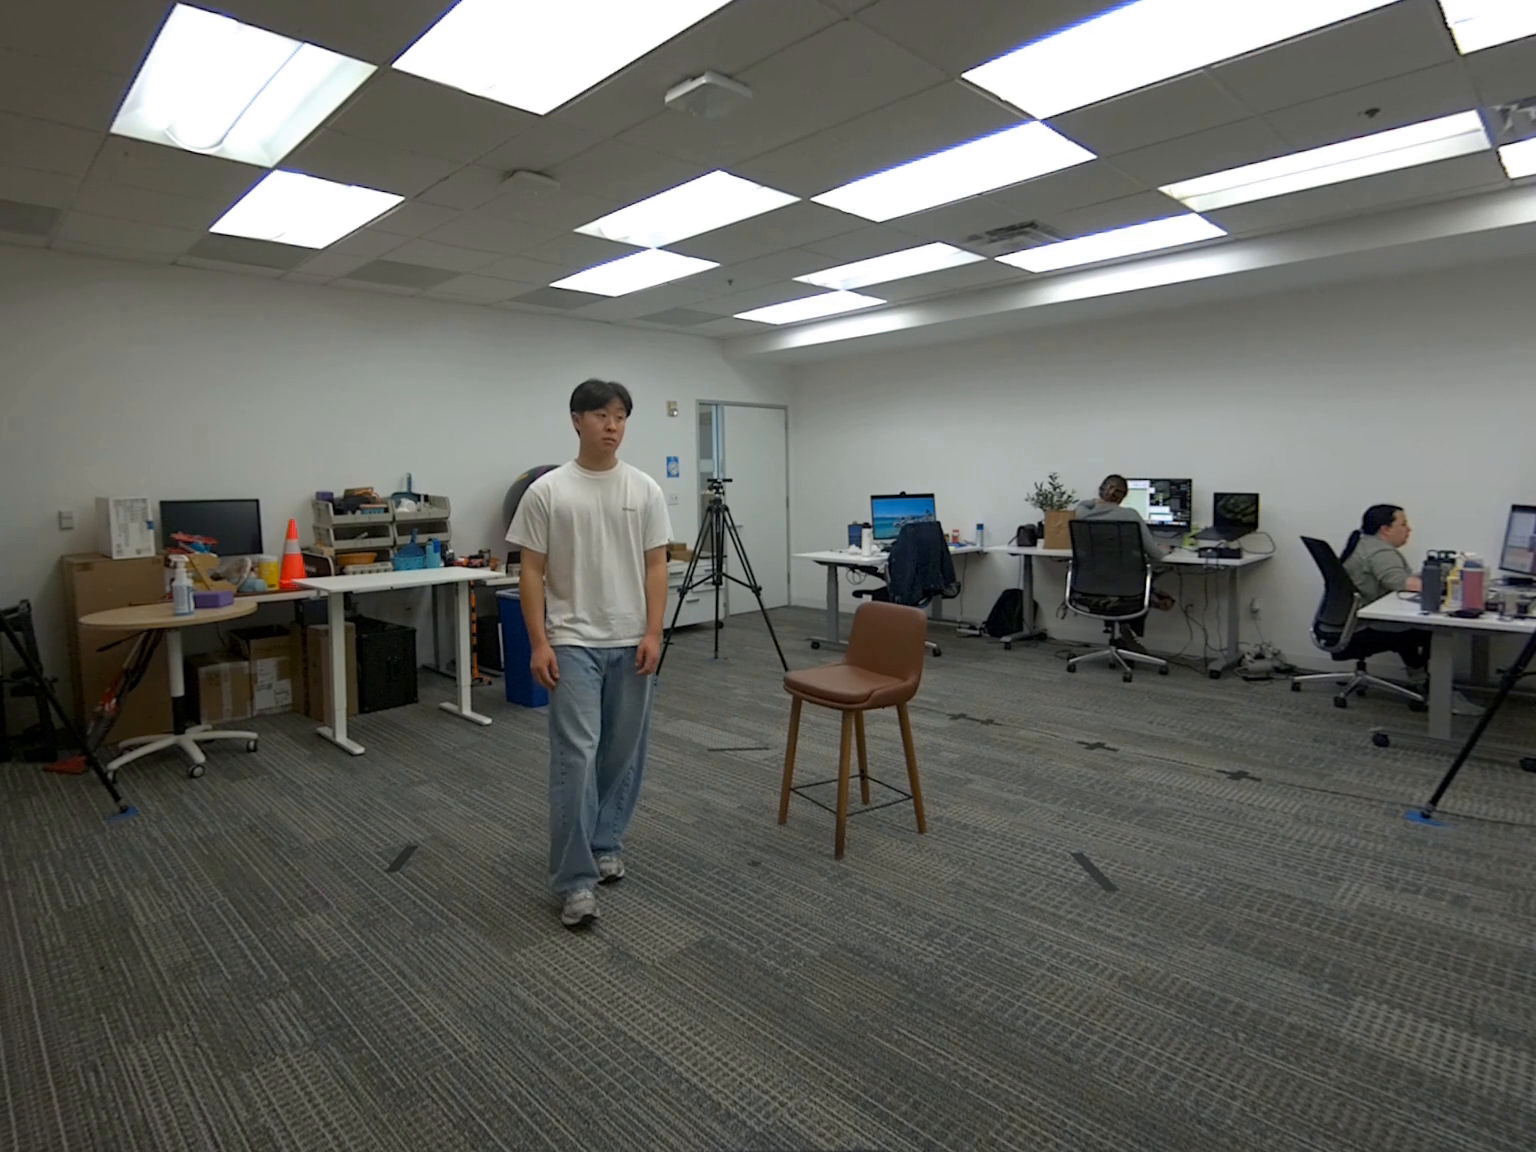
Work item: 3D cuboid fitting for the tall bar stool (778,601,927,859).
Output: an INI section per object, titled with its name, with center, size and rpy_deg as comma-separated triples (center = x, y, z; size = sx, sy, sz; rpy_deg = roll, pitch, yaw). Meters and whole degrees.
[tall bar stool]
center = 0.336, 0.570, 3.388
size = 0.456, 0.887, 0.469
rpy_deg = -1, 4, -32
